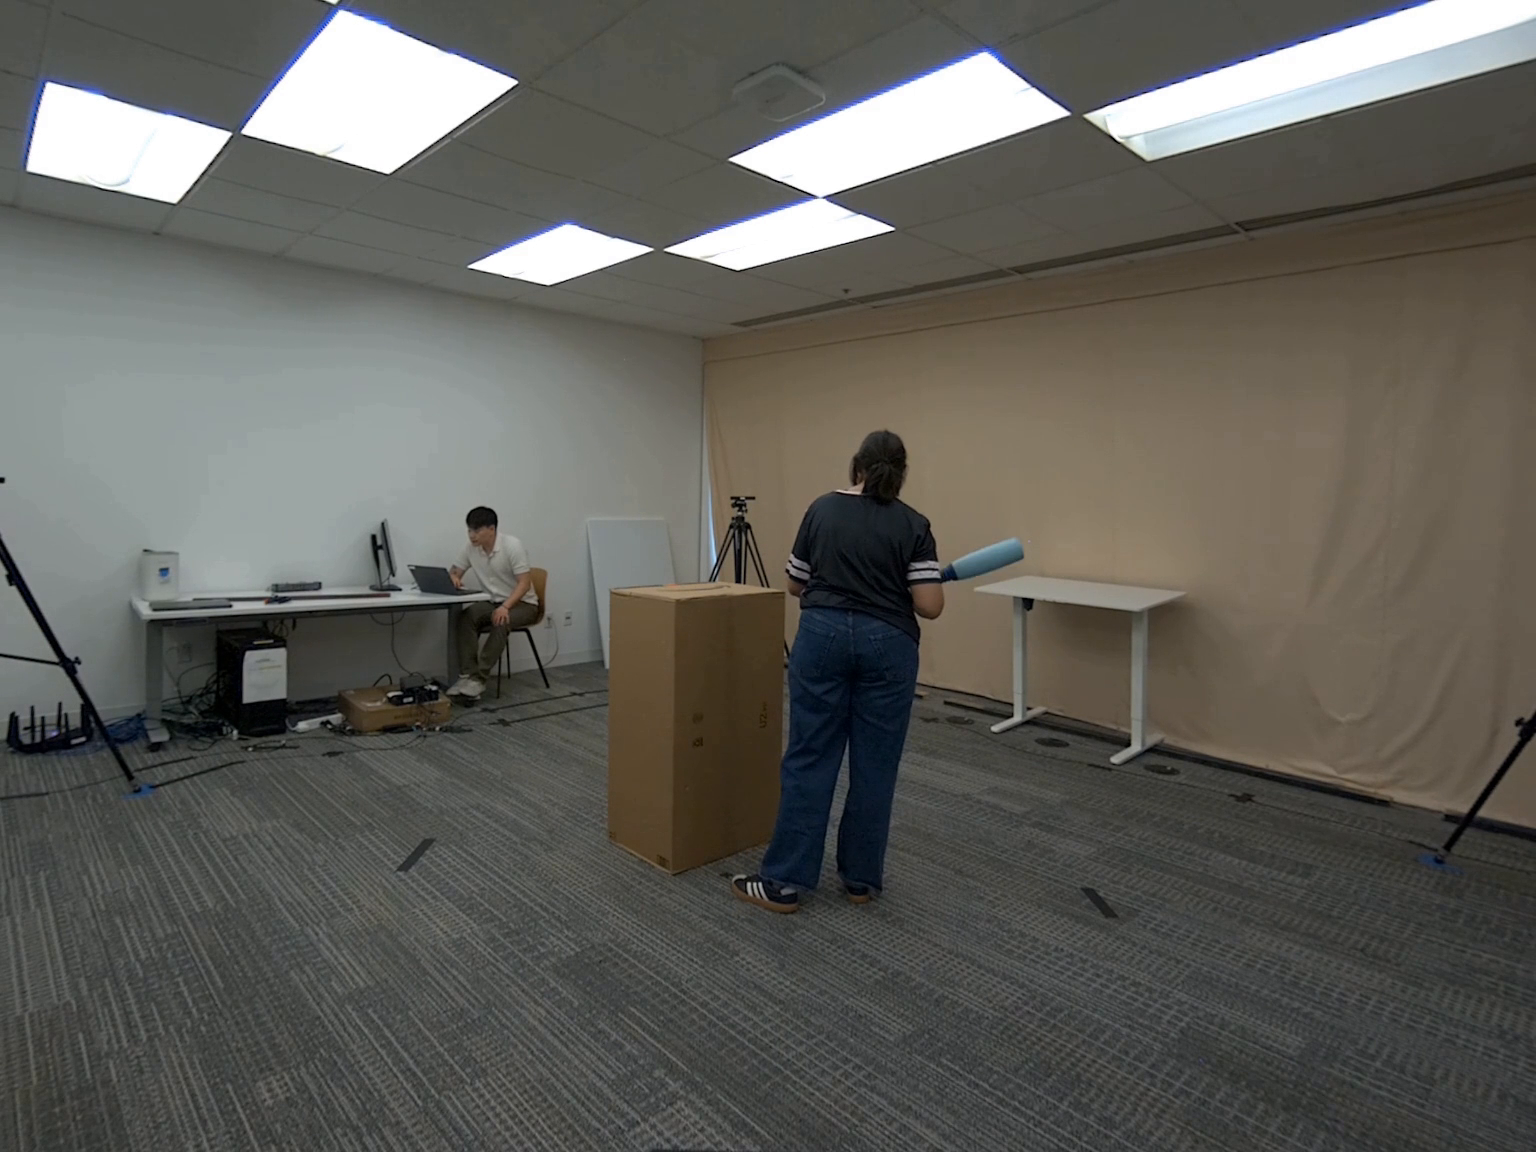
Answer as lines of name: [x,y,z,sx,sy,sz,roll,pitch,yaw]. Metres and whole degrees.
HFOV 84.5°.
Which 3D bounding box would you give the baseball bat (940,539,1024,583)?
baseball bat: [0.653,-0.001,3.087,0.545,0.089,0.089,-22,1,9]
